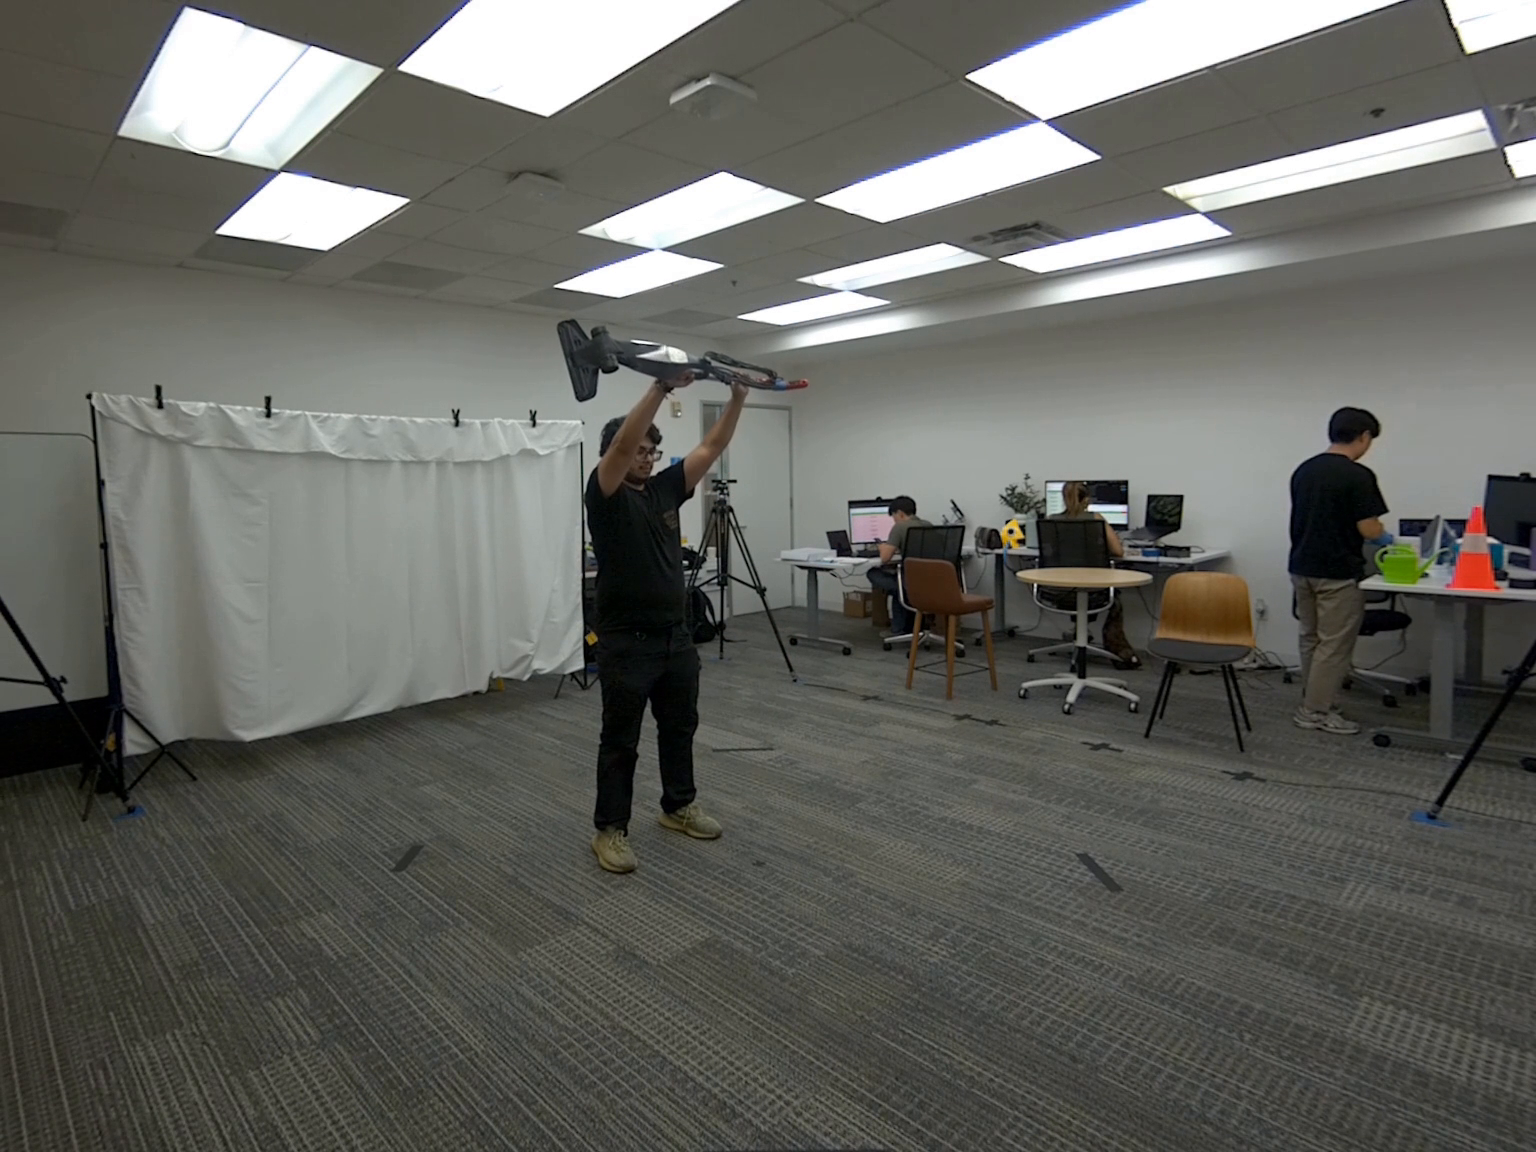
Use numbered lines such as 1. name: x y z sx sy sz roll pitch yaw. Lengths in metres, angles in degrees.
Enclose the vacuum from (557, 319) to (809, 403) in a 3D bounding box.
1. vacuum: -0.194 -0.693 2.860 0.146 0.256 1.023 -28 -13 40
